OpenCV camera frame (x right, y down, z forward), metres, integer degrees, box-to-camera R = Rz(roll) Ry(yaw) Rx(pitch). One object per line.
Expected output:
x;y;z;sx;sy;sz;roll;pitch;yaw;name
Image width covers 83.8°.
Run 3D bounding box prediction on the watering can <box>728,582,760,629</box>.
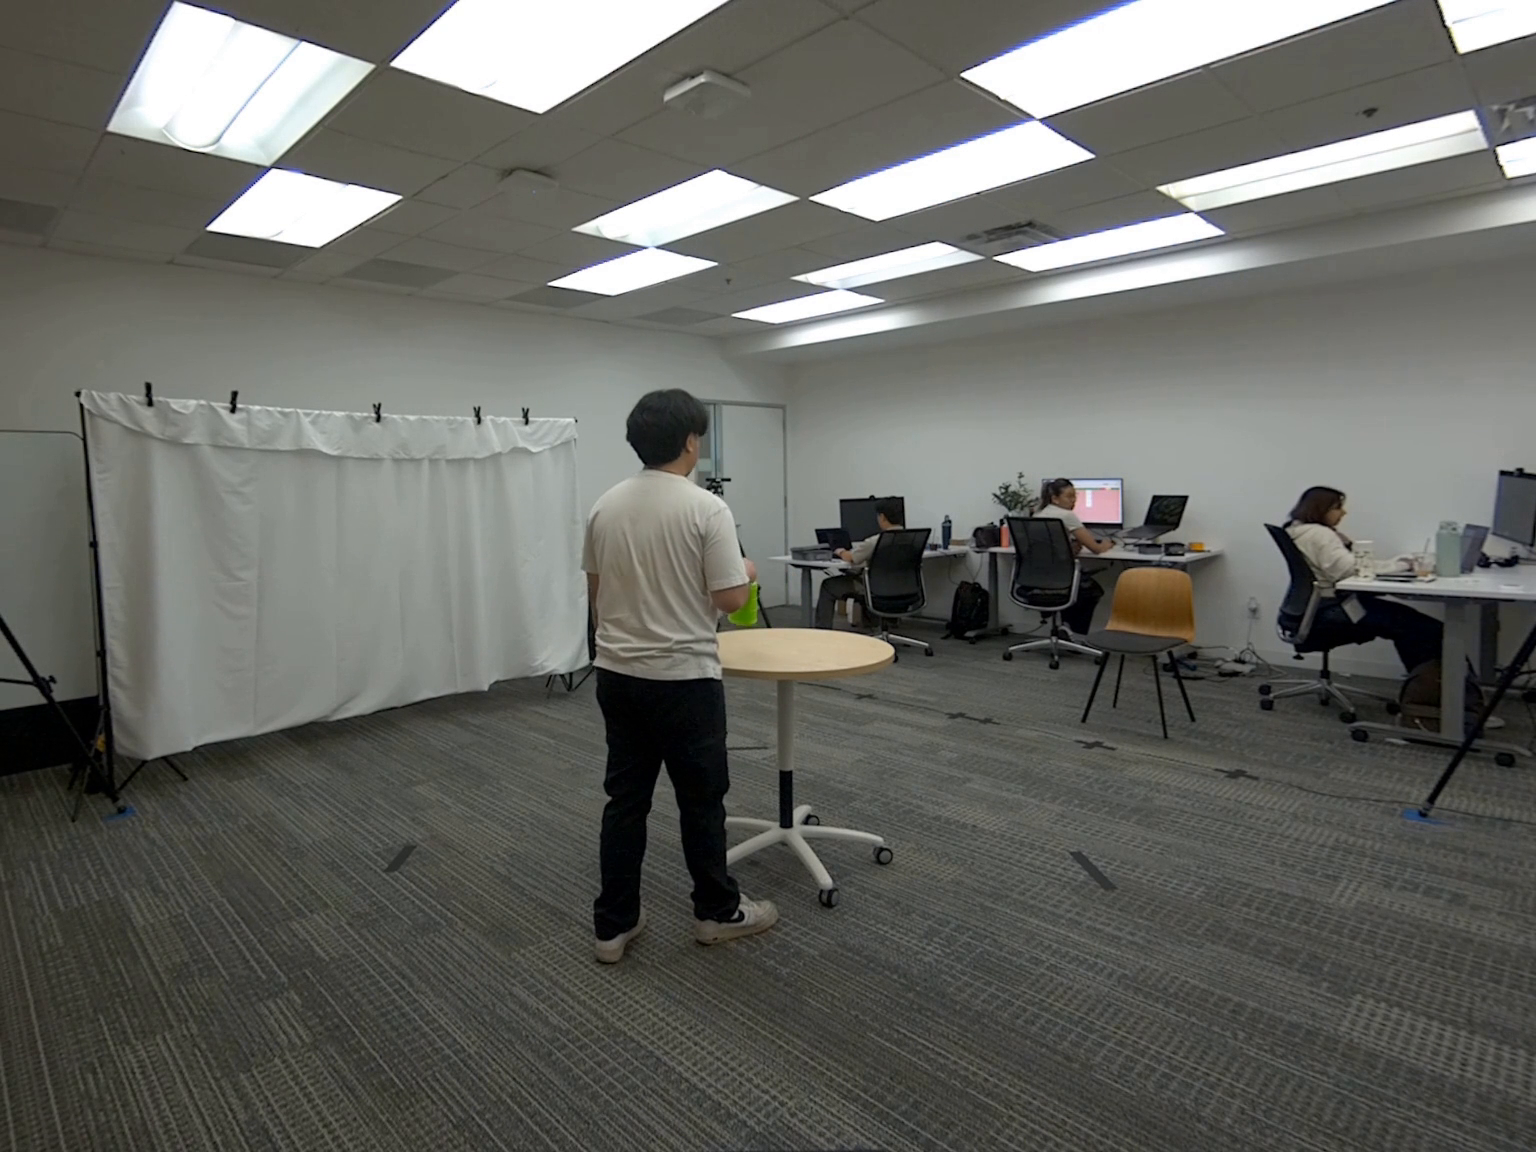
-0.071;0.061;2.857;0.099;0.175;0.278;1;10;6;watering can
